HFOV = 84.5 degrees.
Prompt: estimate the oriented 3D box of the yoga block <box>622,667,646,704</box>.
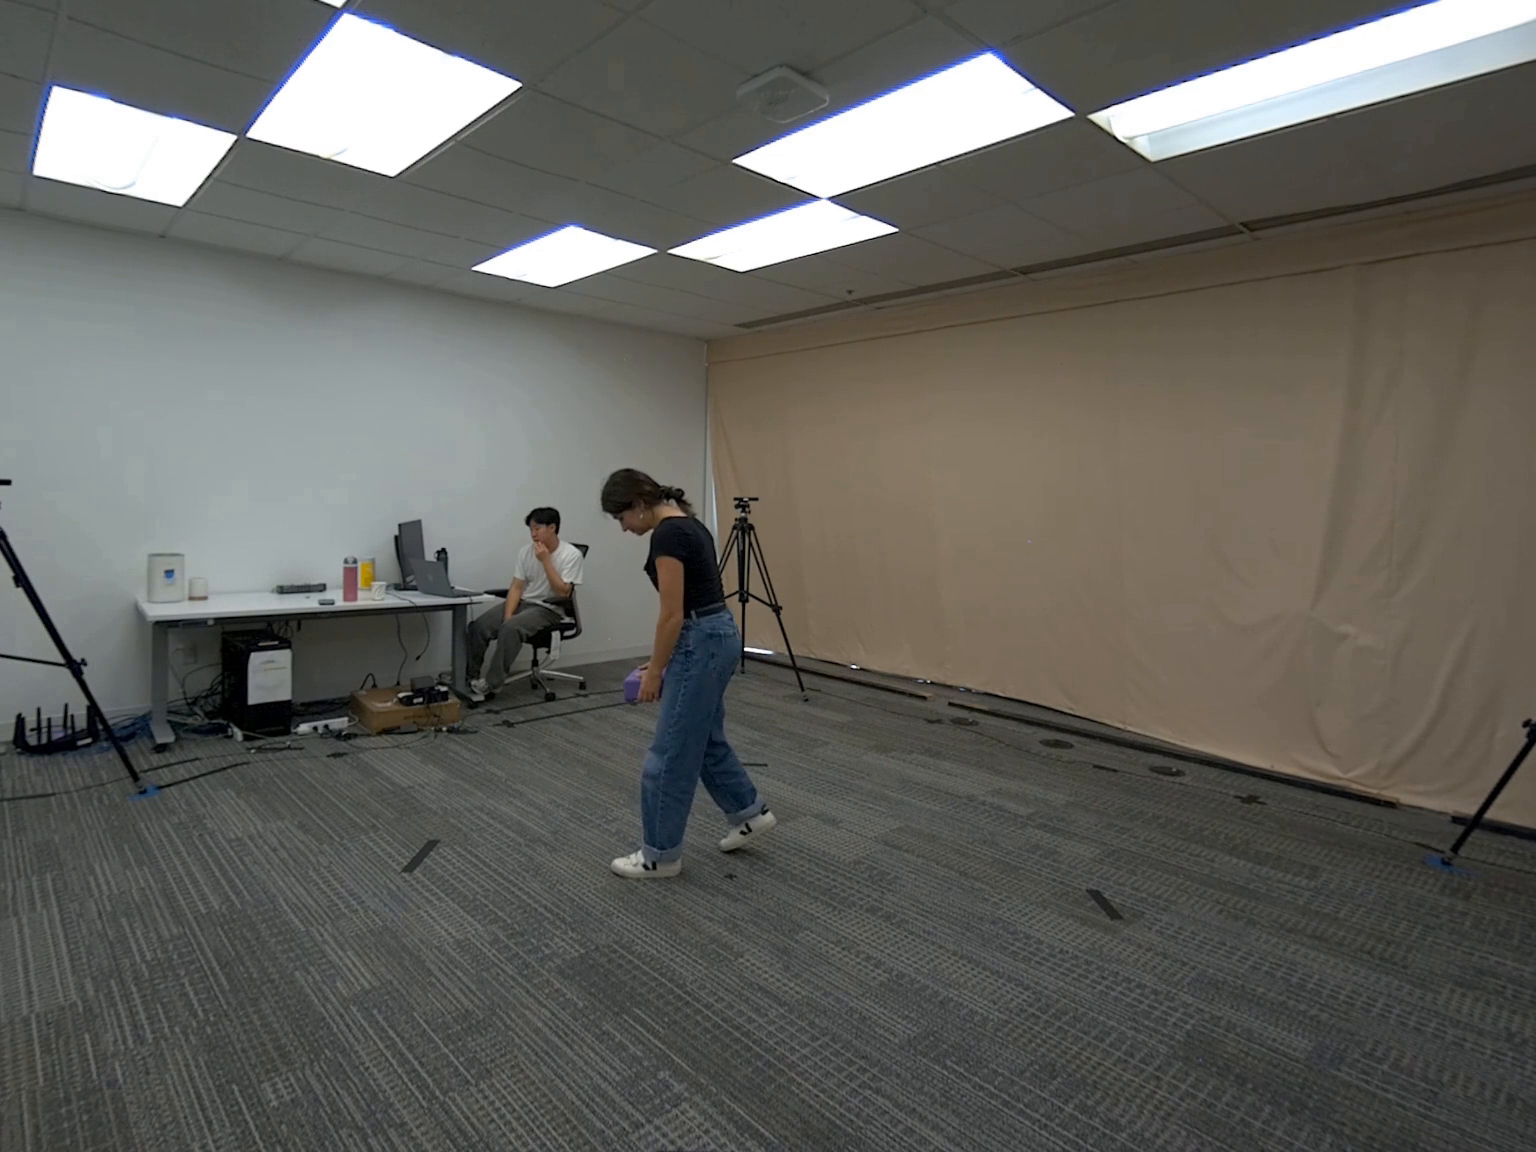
[{"bbox_3d":[-0.445,0.405,3.162,0.149,0.076,0.229,-3,5,3],"label":"yoga block"}]
